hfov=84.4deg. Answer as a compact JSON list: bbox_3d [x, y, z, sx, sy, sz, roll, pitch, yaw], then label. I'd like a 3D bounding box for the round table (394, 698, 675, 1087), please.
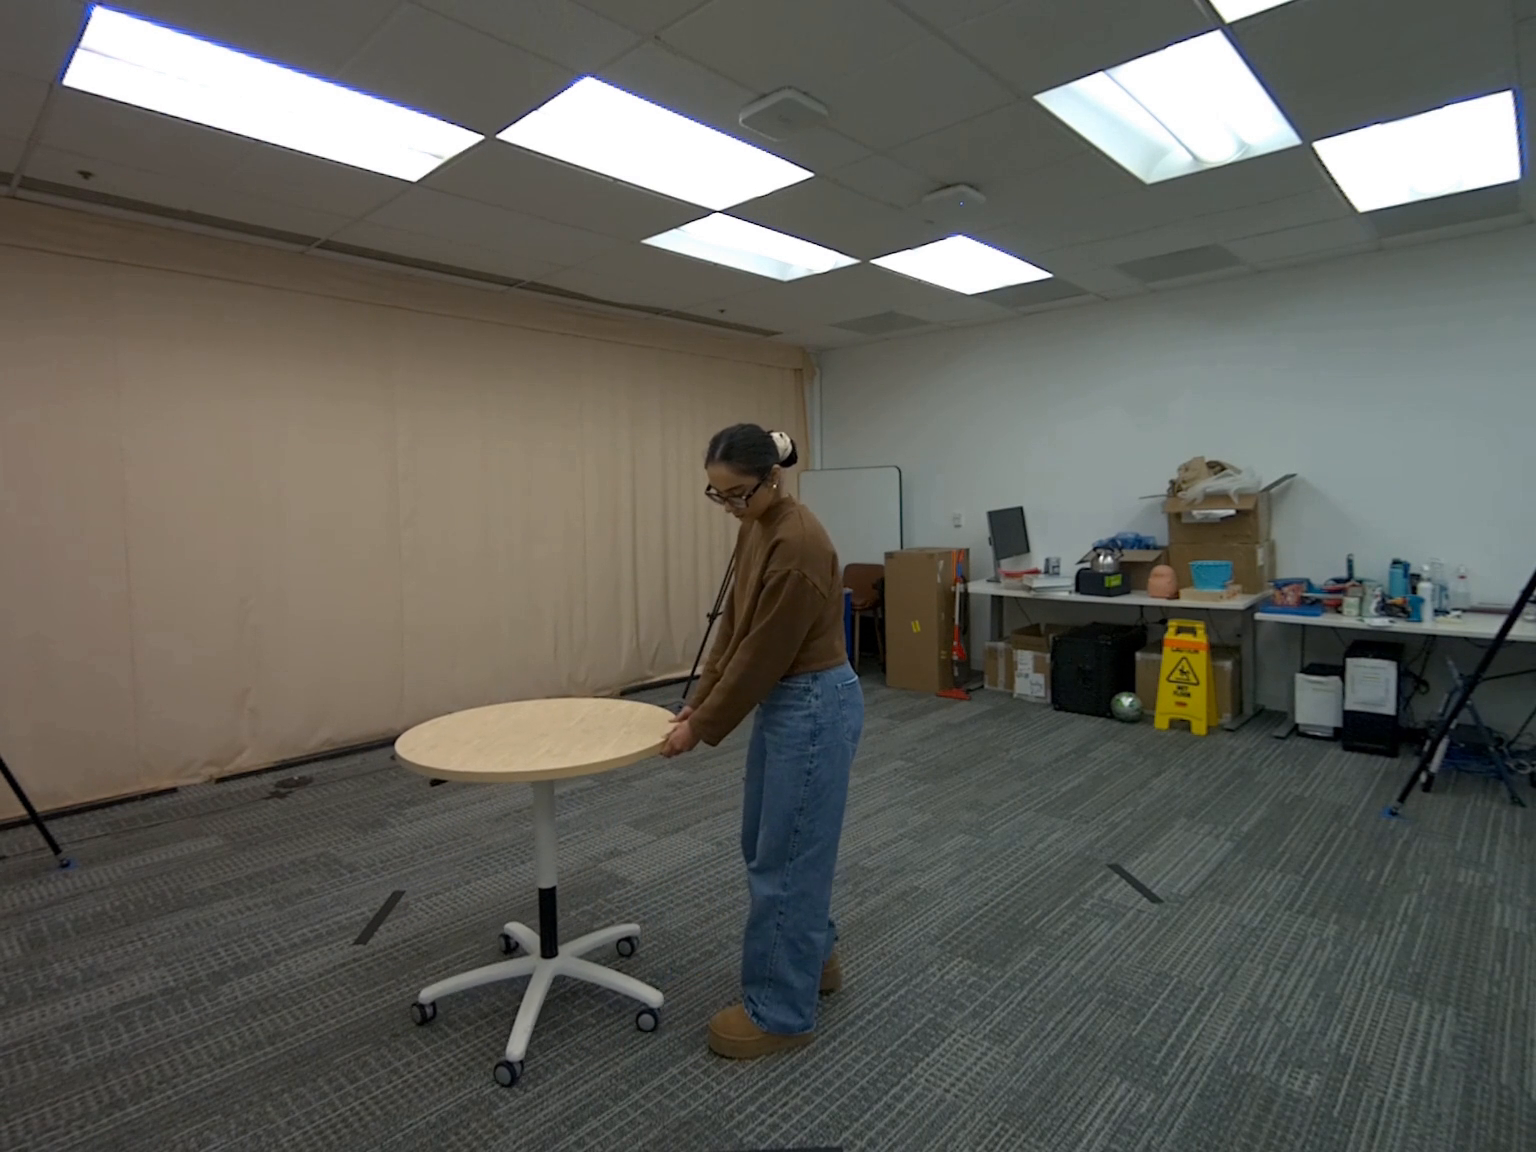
[{"bbox_3d":[-0.621,0.822,2.357,0.763,0.792,0.766,-2,4,-2],"label":"round table"}]
